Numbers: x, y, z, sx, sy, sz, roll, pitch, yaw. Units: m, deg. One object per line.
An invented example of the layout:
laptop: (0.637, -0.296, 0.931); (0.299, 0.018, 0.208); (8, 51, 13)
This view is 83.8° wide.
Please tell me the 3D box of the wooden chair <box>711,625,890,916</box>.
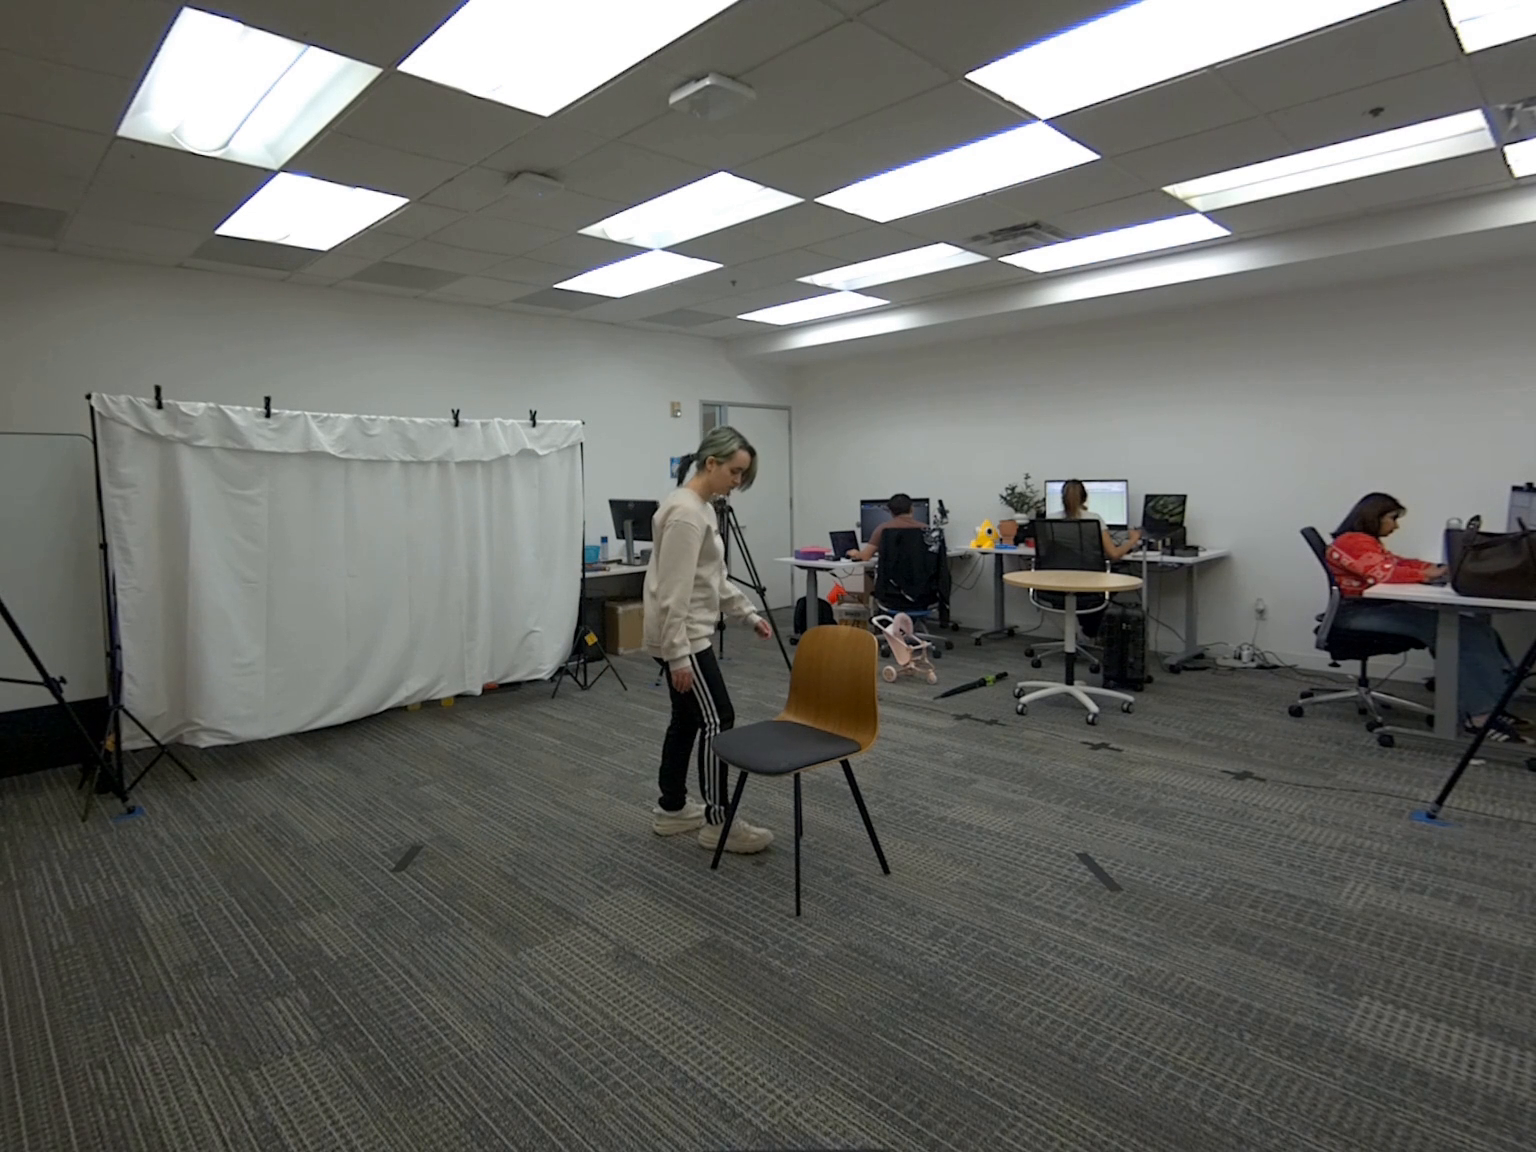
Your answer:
wooden chair: (0.106, 0.630, 2.995); (0.508, 0.876, 0.493); (1, 2, -41)
